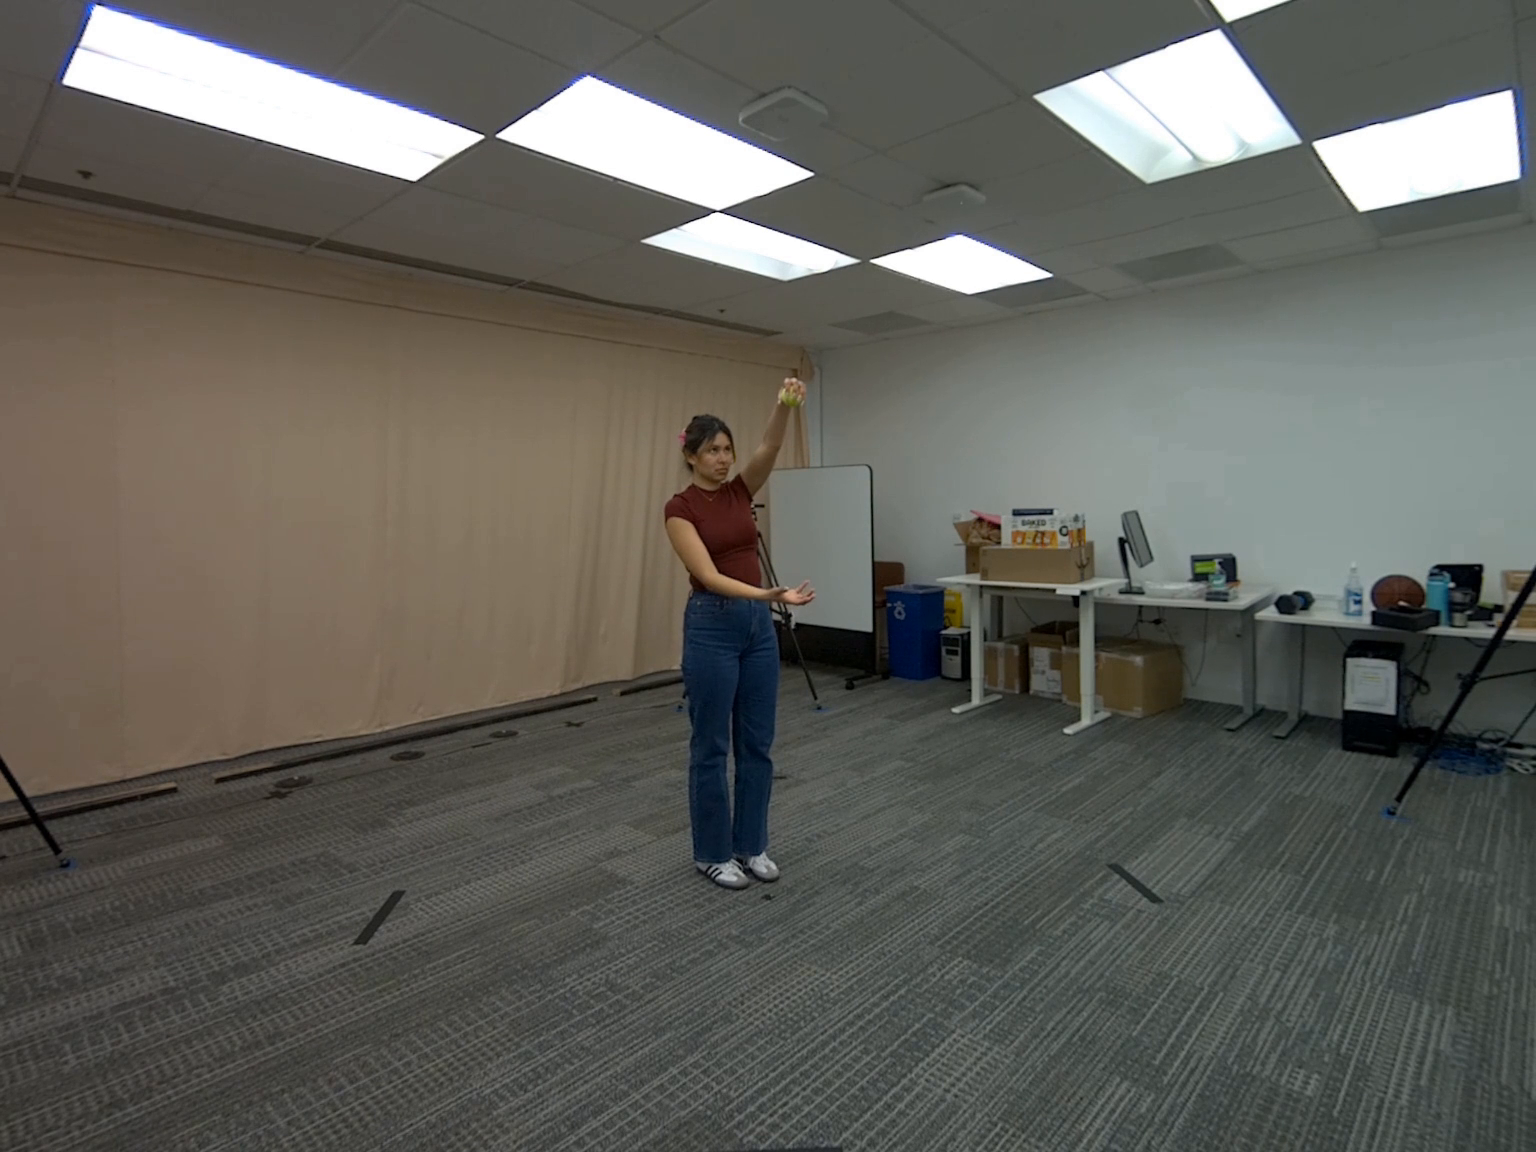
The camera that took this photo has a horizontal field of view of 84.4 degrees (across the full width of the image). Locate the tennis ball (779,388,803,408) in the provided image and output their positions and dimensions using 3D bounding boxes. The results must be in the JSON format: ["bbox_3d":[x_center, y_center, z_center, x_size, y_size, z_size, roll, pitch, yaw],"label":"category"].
[{"bbox_3d":[0.098,-0.568,2.703,0.066,0.066,0.067,-1,4,-2],"label":"tennis ball"}]
